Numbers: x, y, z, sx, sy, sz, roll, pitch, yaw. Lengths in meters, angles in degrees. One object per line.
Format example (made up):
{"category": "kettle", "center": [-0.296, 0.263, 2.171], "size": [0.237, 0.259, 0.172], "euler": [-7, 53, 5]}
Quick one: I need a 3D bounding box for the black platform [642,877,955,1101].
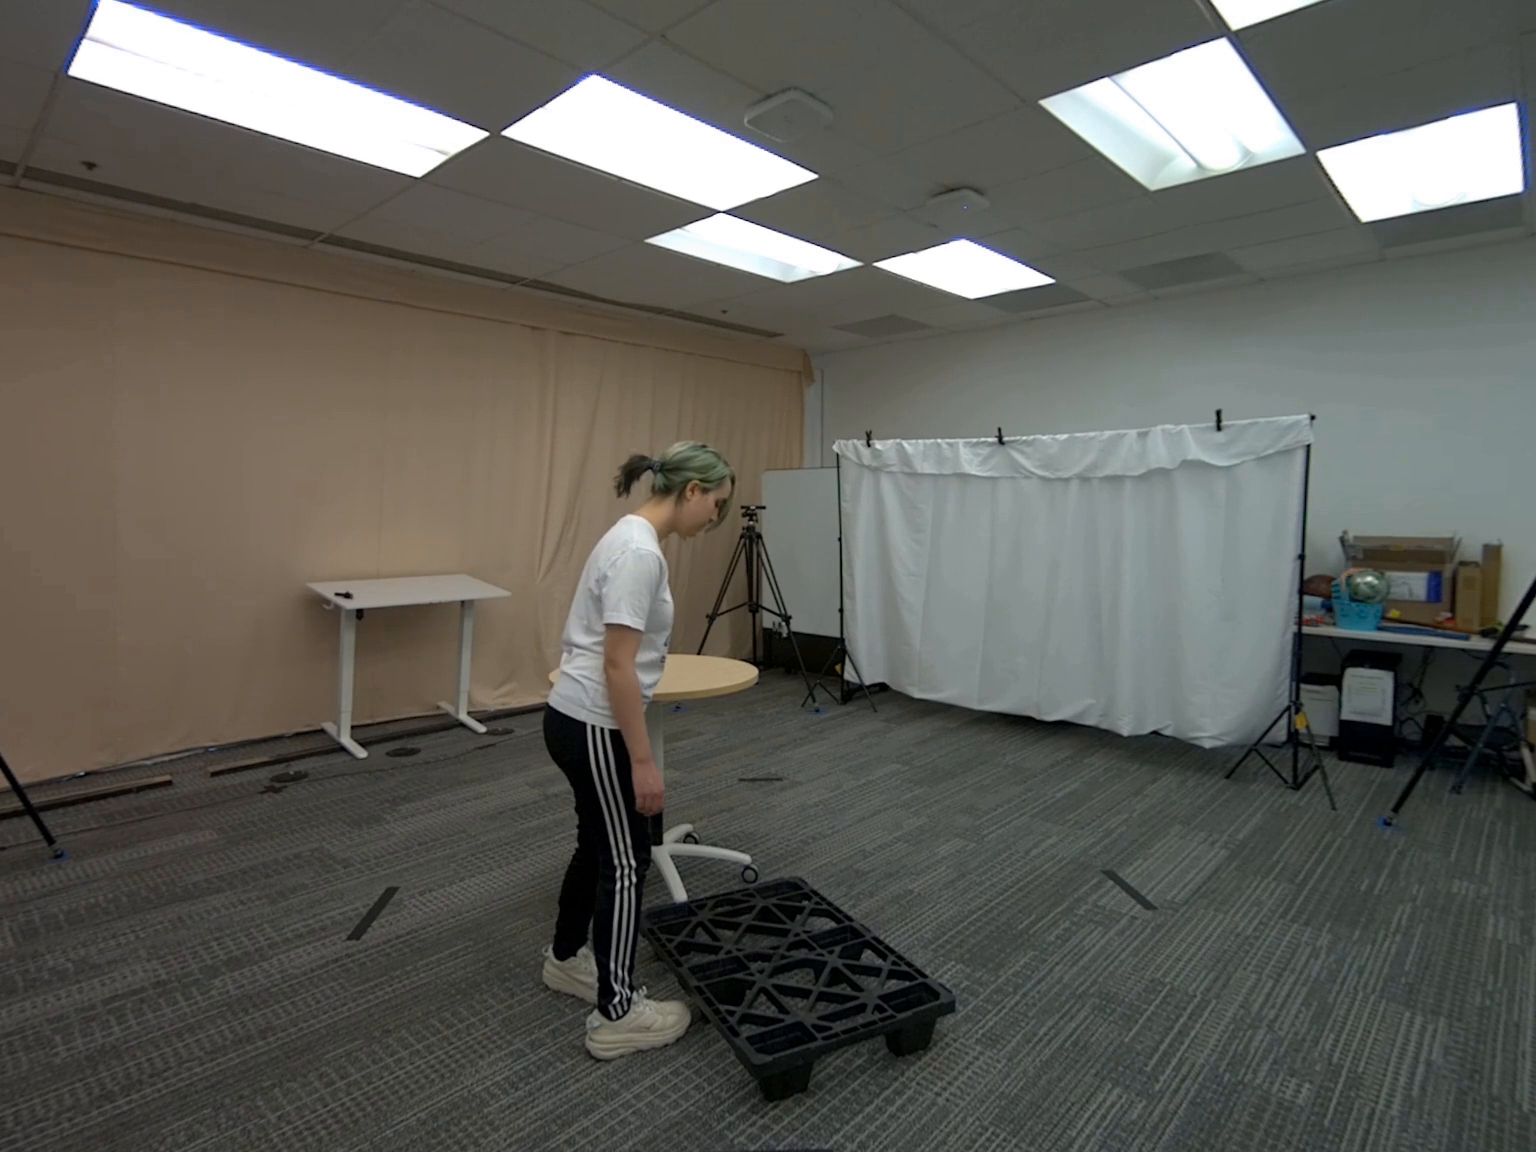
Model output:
{"category": "black platform", "center": [0.037, 1.125, 2.381], "size": [0.590, 0.143, 0.828], "euler": [-3, 6, -28]}
